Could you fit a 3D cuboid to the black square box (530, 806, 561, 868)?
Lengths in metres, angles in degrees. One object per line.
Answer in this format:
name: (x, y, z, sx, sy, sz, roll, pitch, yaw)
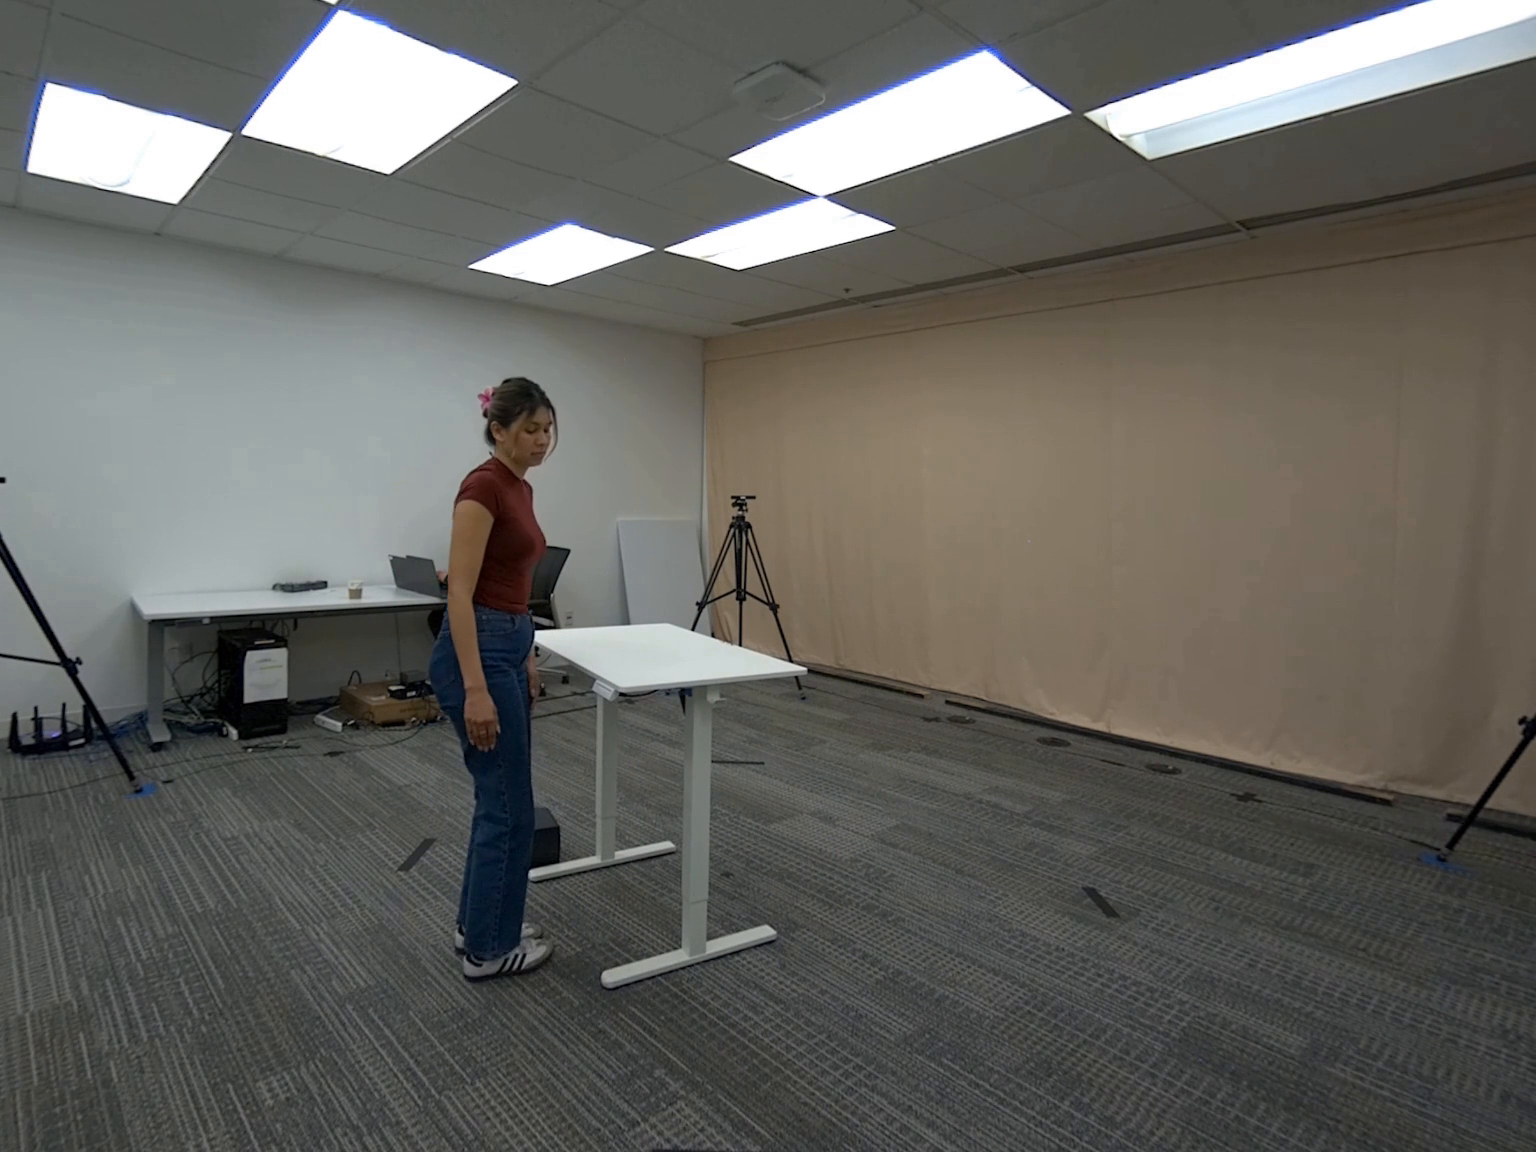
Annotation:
black square box: (-0.927, 0.997, 3.179, 0.224, 0.155, 0.221, -1, 5, -26)
